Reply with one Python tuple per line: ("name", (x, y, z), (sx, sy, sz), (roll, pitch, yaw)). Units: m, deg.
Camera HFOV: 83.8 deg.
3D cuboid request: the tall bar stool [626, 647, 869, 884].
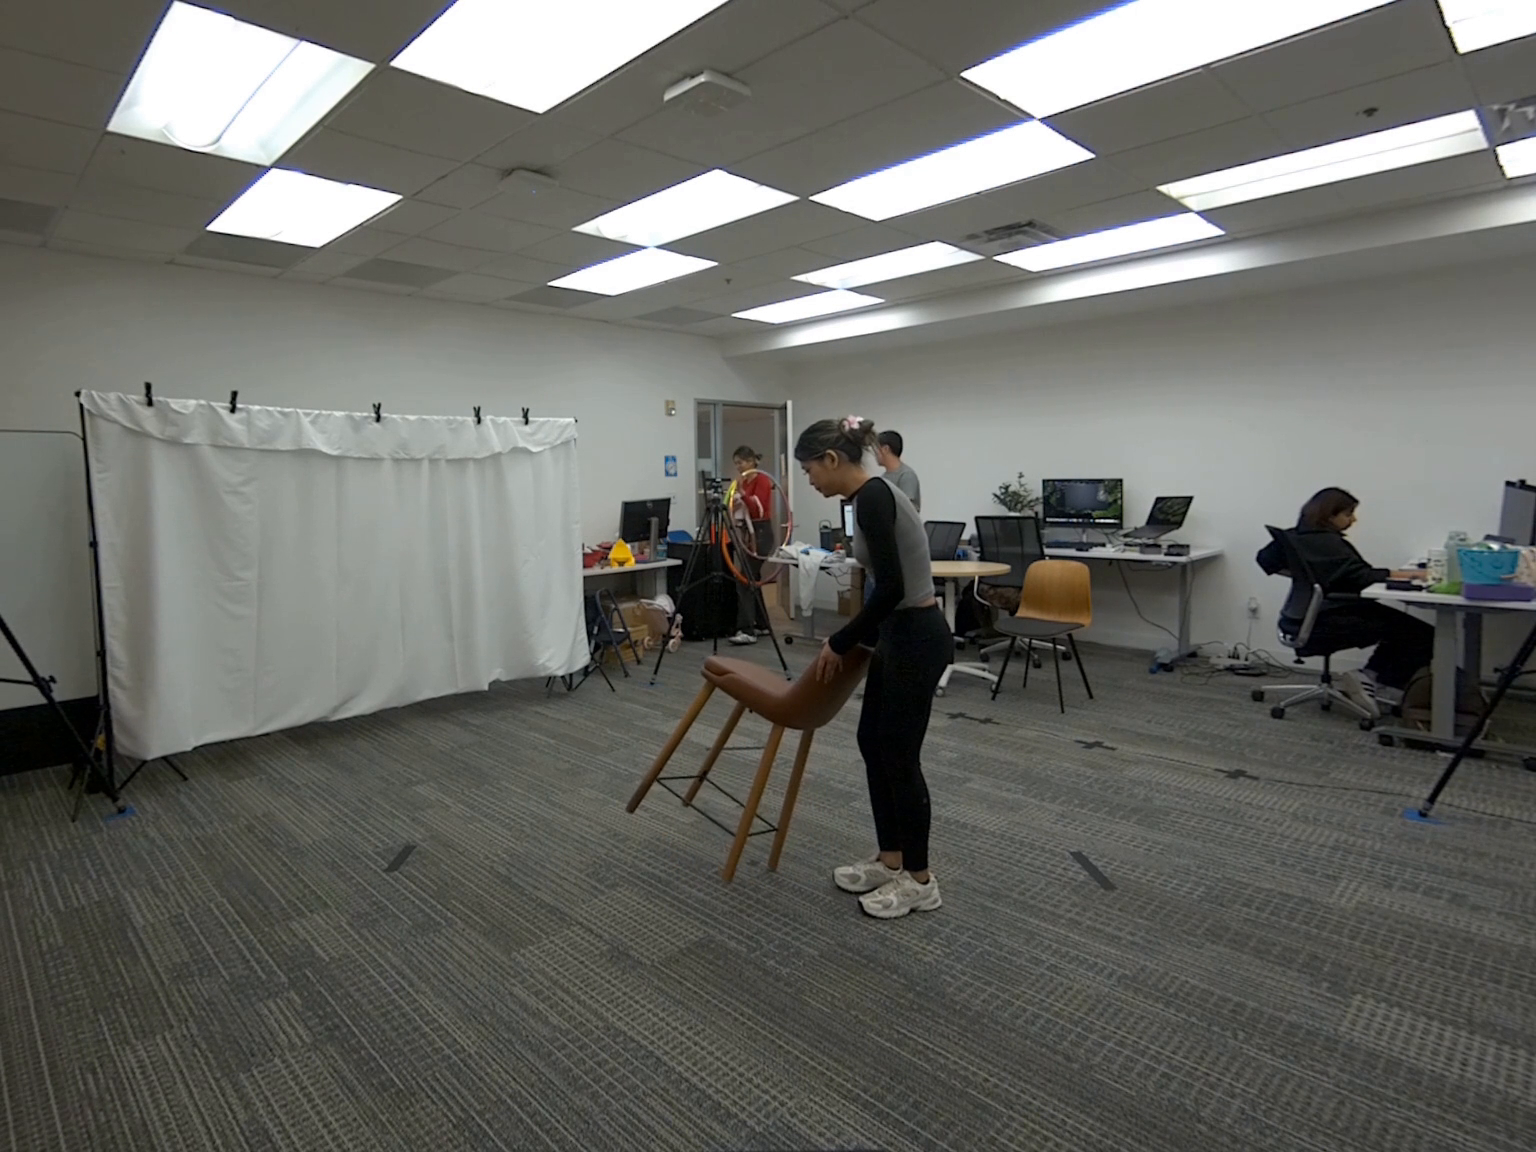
("tall bar stool", (-0.039, 0.542, 3.002), (0.484, 0.889, 0.441), (28, 2, 31))
